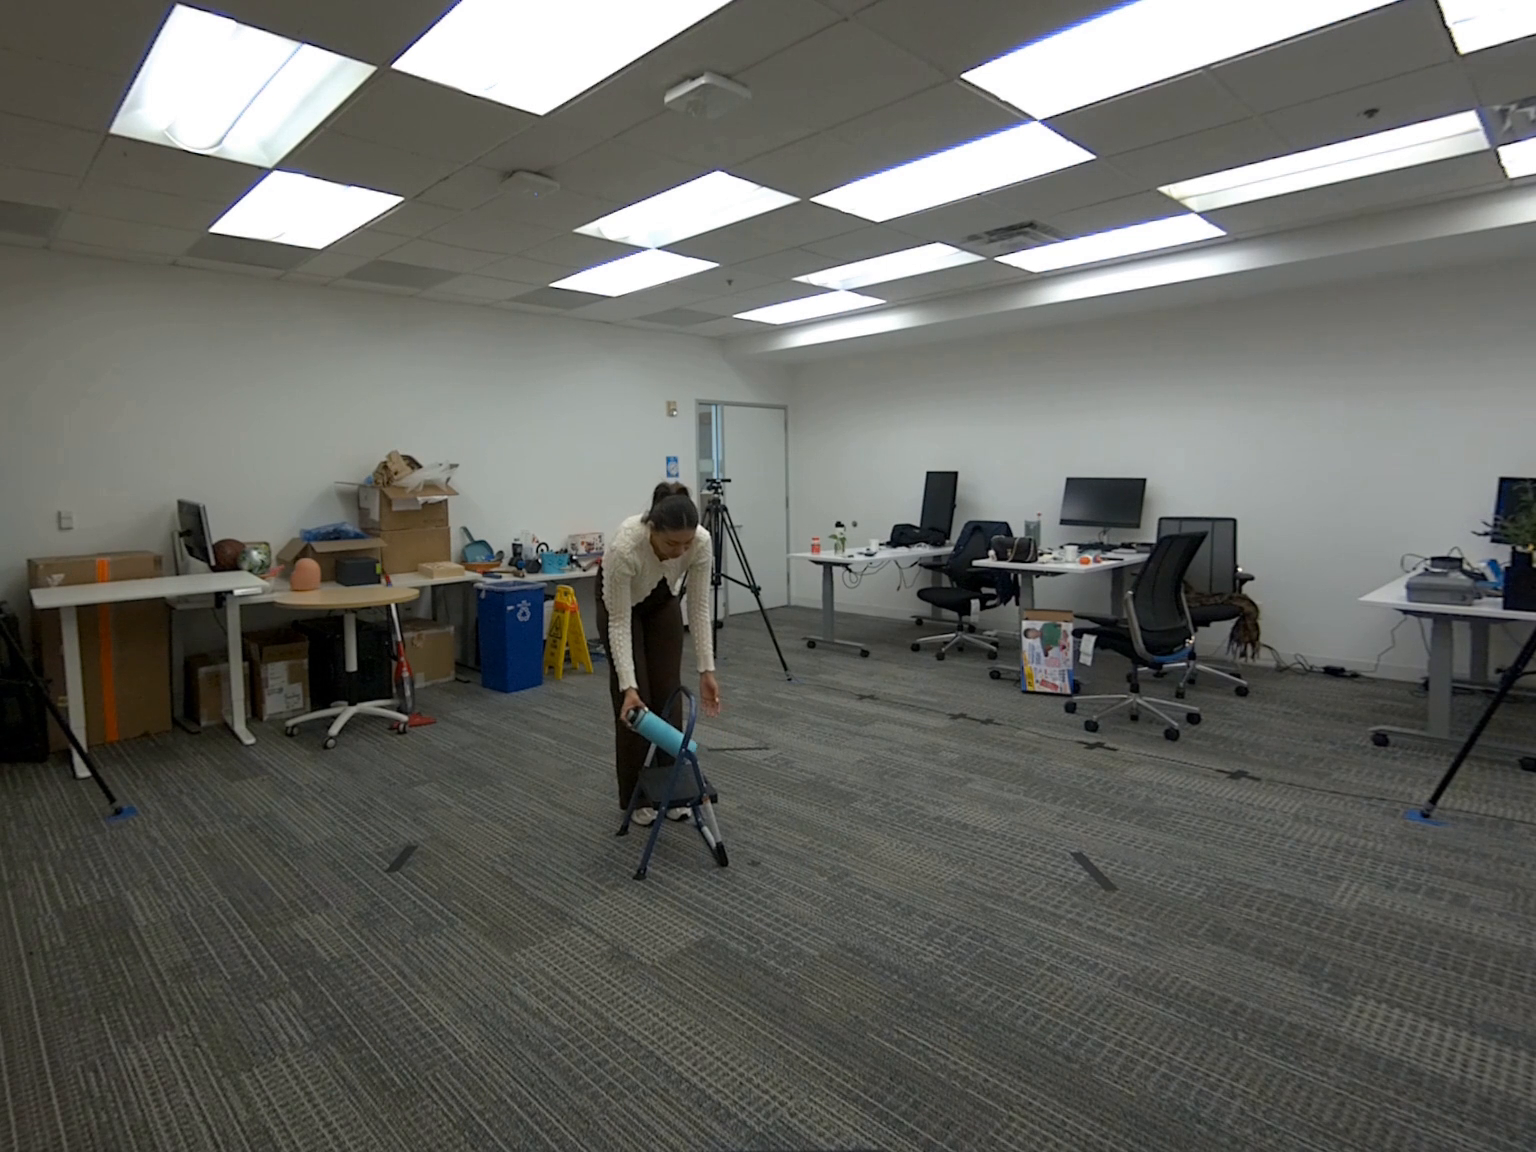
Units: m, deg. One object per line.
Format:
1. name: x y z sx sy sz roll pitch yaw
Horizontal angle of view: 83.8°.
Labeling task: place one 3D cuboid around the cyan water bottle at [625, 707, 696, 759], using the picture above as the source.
1. cyan water bottle: -0.410 0.588 3.204 0.283 0.092 0.092 35 4 -1
